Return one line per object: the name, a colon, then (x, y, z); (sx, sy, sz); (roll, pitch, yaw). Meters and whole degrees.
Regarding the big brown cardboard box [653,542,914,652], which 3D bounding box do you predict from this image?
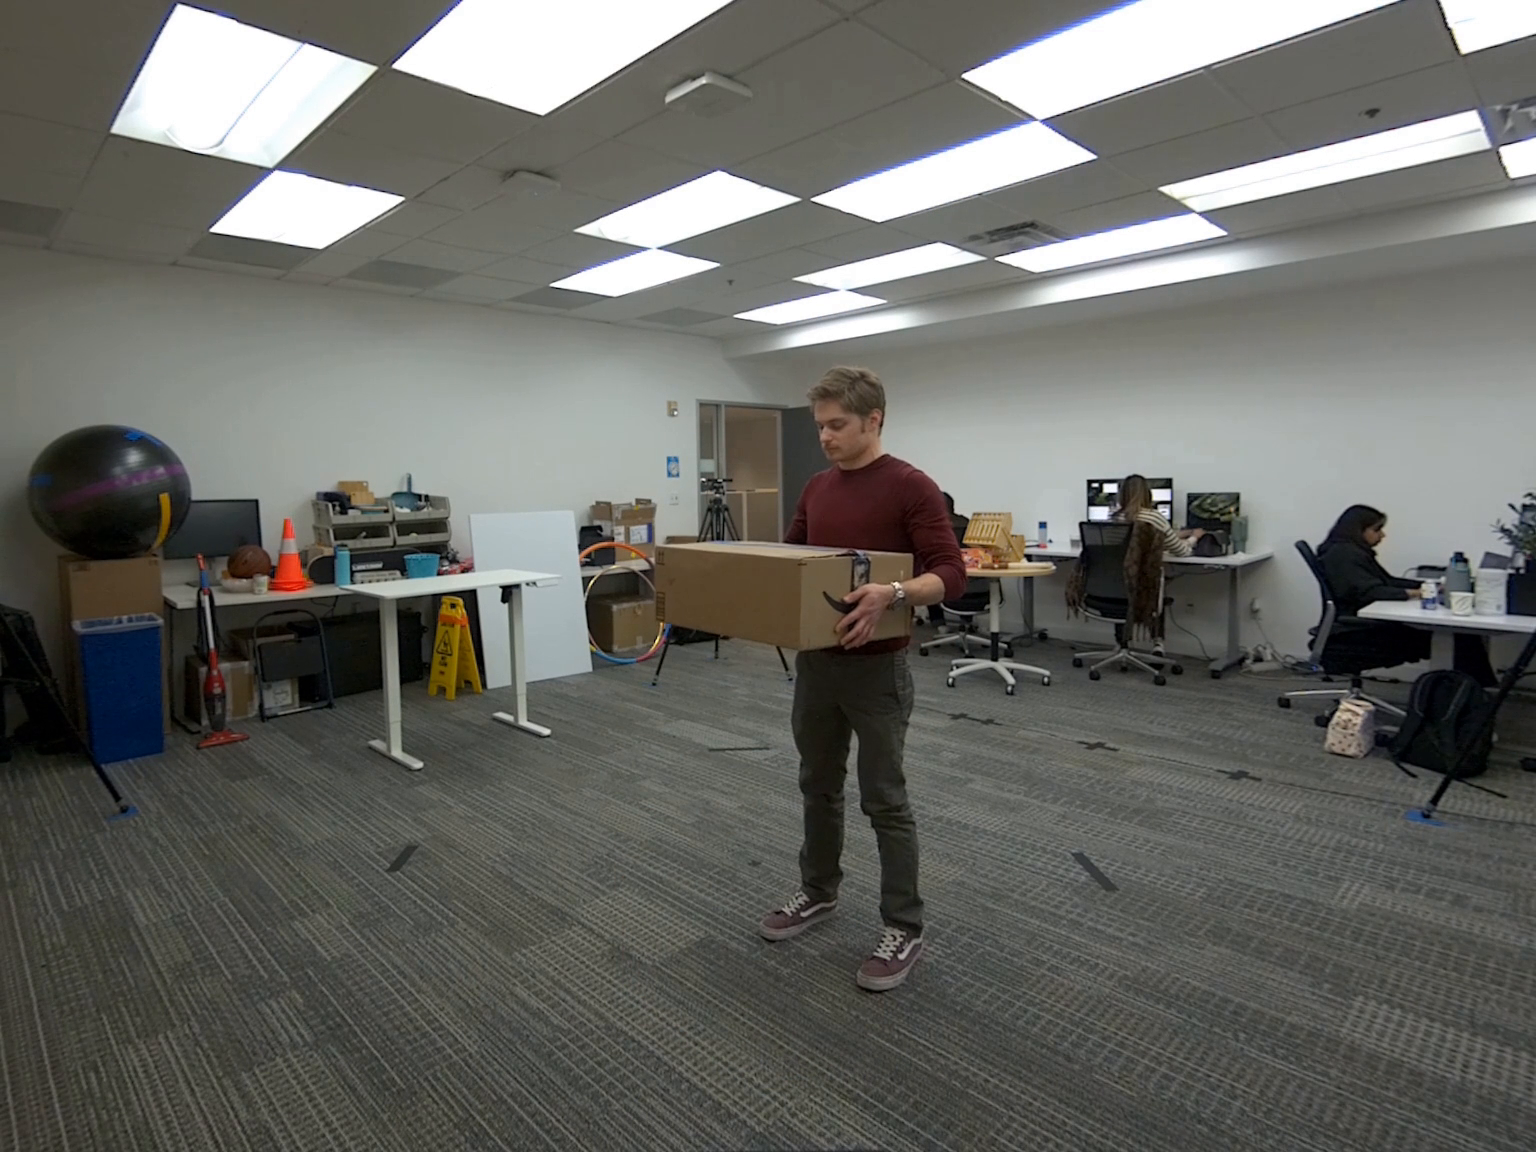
big brown cardboard box: (0.030, 0.036, 2.289); (0.406, 0.232, 0.607); (-3, 6, -42)
